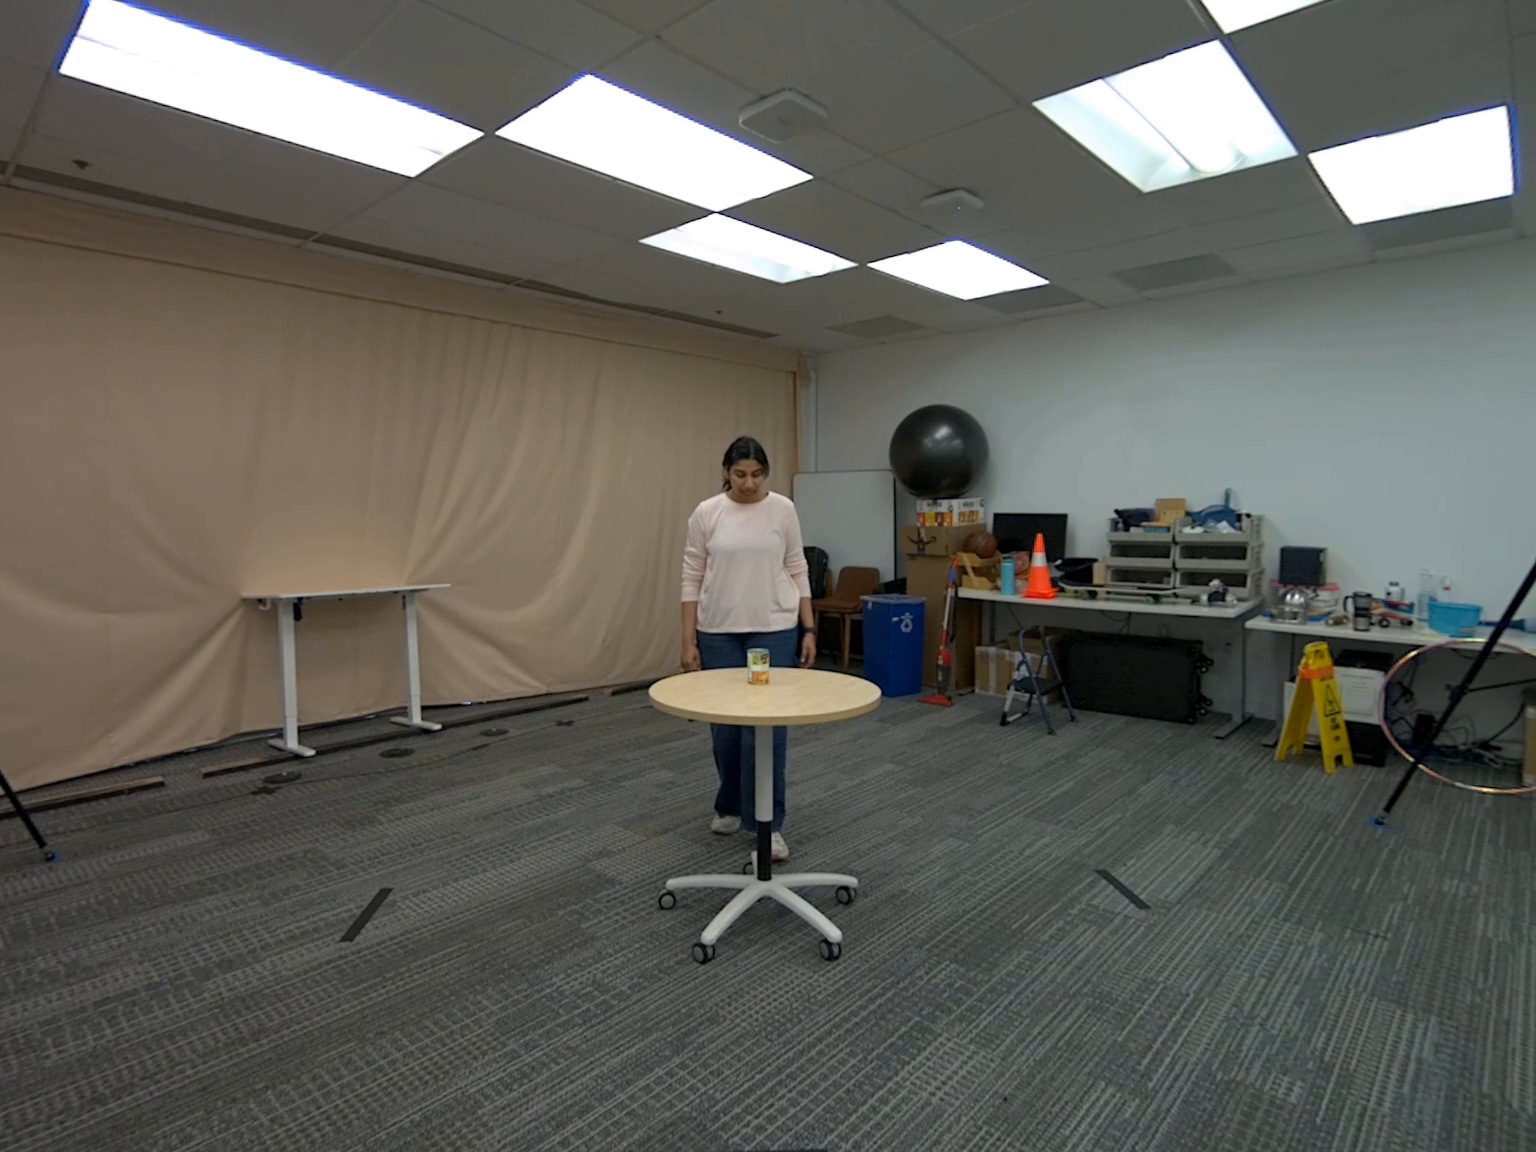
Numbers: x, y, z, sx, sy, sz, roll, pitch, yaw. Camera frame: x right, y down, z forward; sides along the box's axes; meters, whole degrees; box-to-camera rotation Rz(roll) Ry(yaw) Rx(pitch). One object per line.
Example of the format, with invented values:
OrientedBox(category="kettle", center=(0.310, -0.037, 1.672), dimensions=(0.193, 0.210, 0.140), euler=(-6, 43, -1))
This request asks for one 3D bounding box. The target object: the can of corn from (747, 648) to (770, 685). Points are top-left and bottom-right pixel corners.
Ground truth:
OrientedBox(category="can of corn", center=(-0.037, 0.311, 2.904), dimensions=(0.074, 0.111, 0.074), euler=(2, 1, -2))
